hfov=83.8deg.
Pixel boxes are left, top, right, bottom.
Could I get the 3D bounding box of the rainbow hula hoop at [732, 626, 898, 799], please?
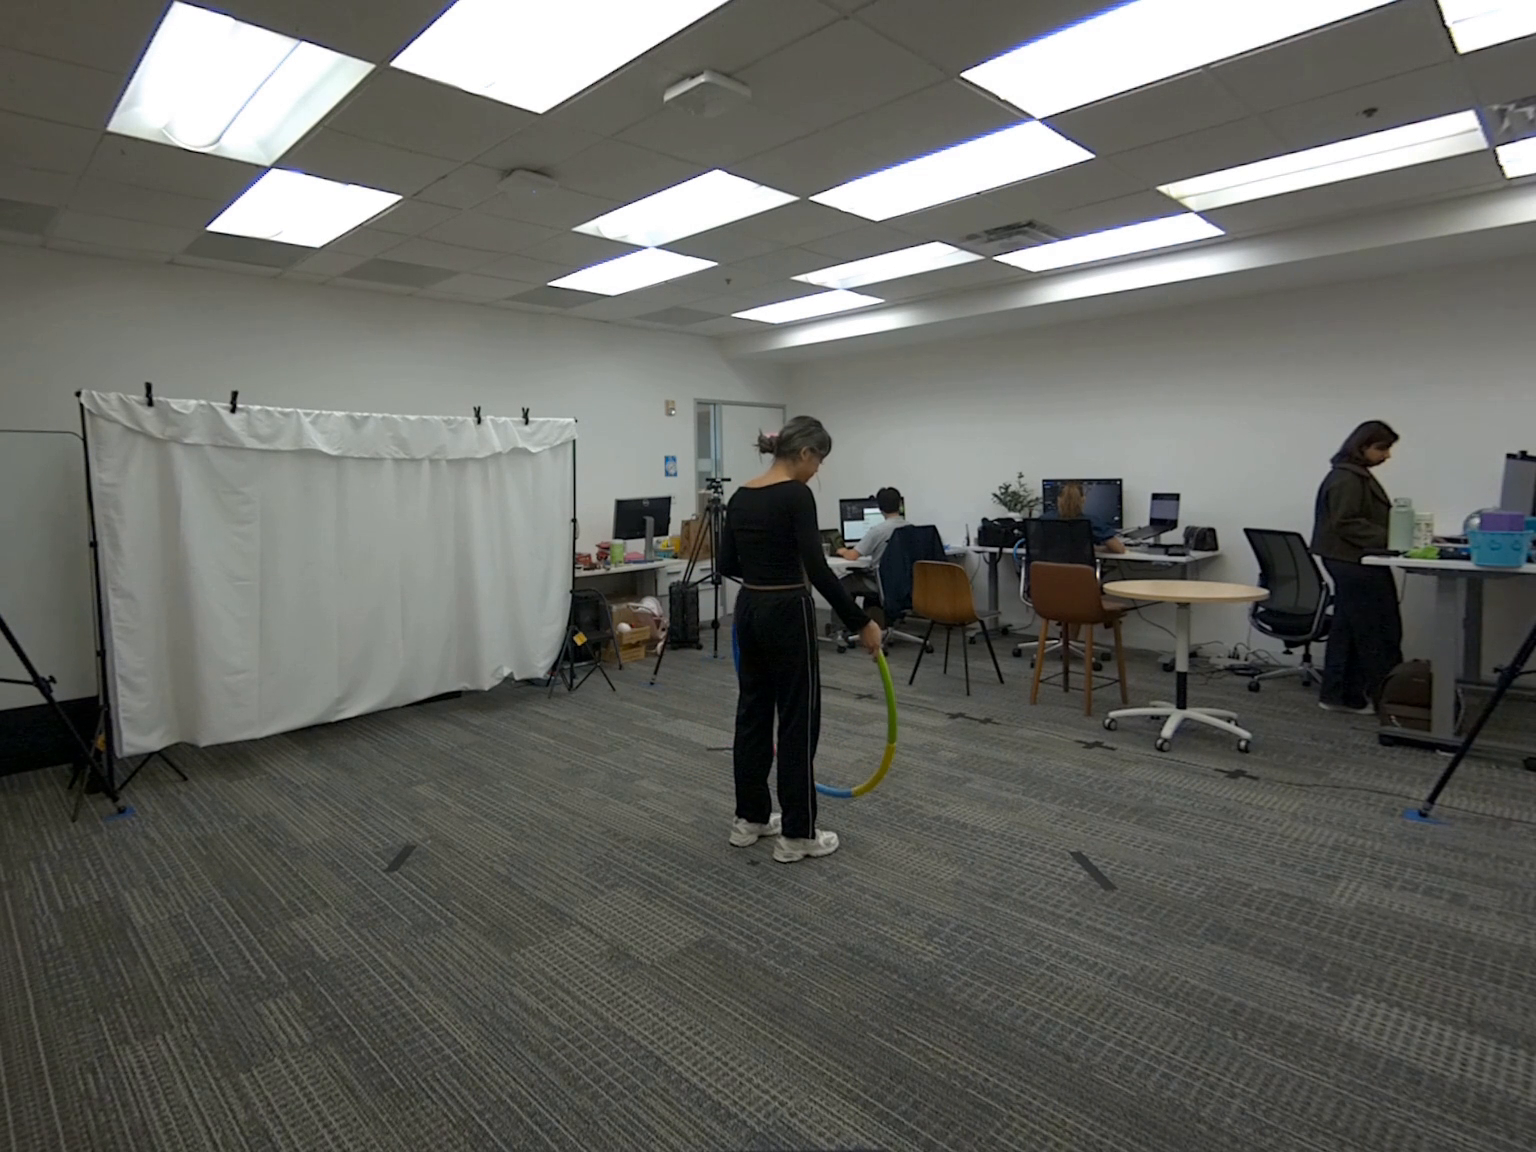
[{"bbox_3d":[0.151,0.398,3.427,0.035,0.969,1.008,-14,12,-35],"label":"rainbow hula hoop"}]
